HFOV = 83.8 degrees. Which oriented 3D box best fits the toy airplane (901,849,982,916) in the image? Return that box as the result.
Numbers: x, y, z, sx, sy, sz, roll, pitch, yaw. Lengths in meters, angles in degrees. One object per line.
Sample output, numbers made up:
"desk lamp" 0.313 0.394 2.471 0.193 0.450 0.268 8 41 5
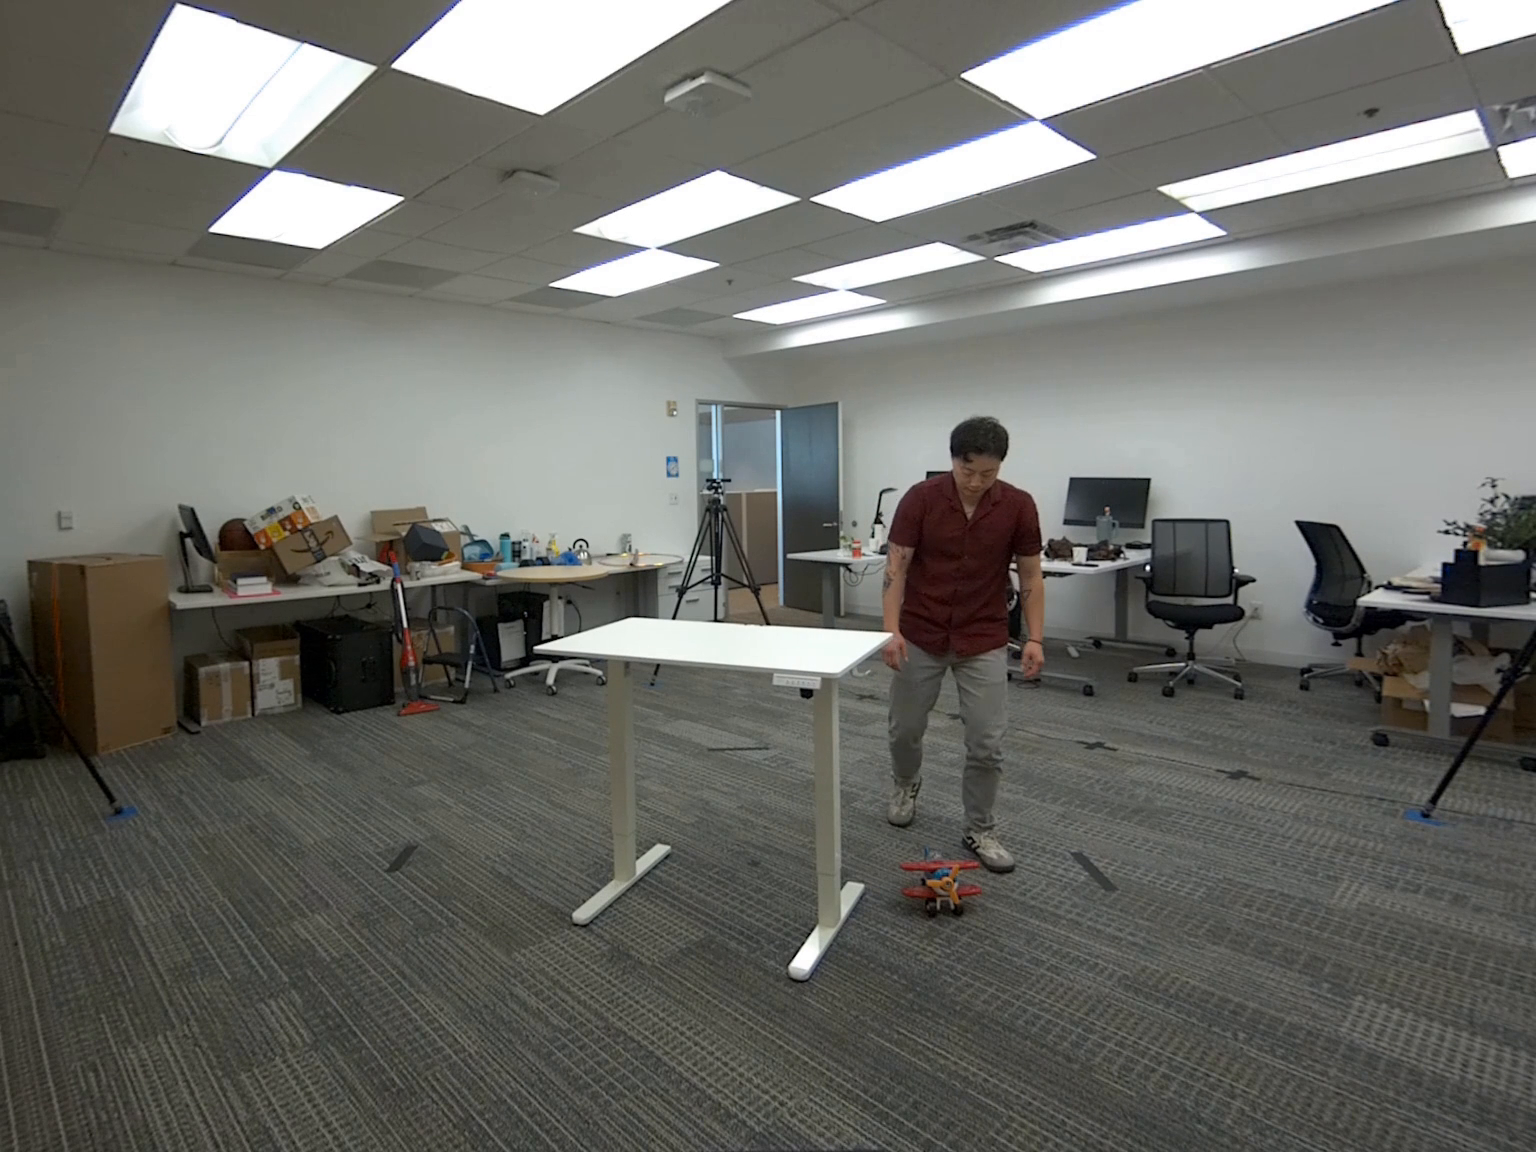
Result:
"toy airplane" 0.544 0.998 2.793 0.245 0.155 0.266 -5 8 -29
